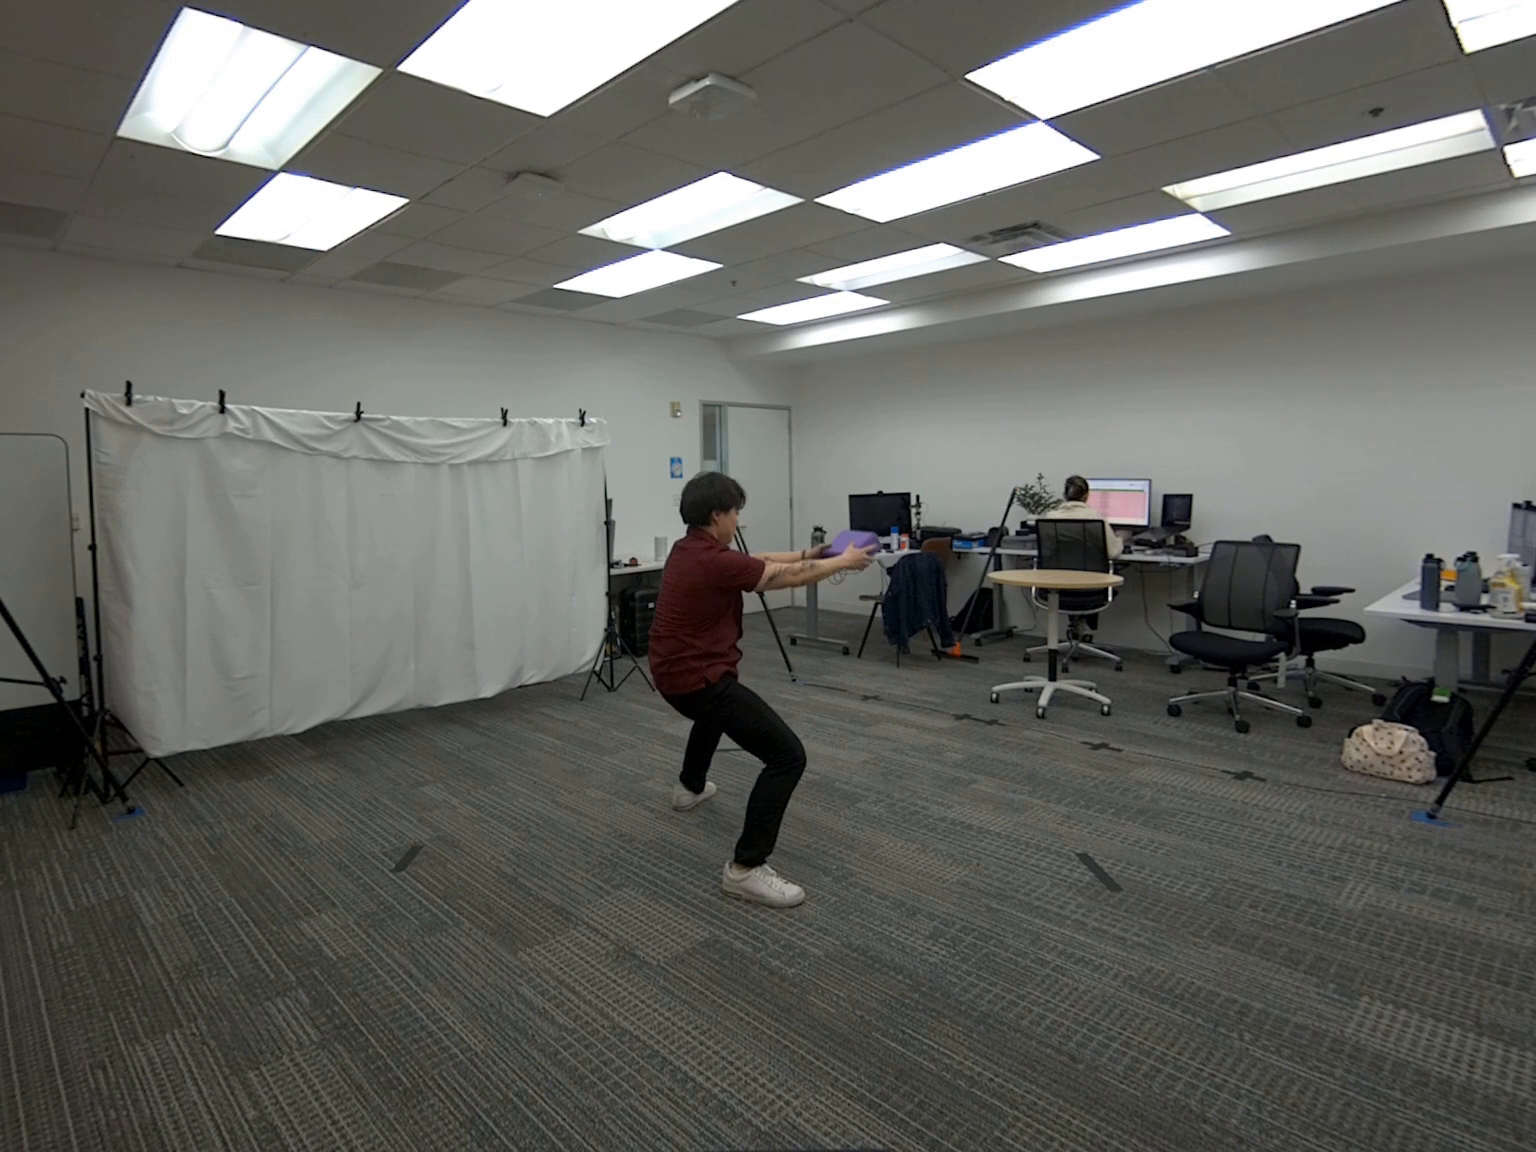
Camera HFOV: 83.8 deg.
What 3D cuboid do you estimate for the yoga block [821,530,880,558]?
[{"bbox_3d":[0.314,-0.102,3.421,0.148,0.075,0.235,-32,16,-16],"label":"yoga block"}]
